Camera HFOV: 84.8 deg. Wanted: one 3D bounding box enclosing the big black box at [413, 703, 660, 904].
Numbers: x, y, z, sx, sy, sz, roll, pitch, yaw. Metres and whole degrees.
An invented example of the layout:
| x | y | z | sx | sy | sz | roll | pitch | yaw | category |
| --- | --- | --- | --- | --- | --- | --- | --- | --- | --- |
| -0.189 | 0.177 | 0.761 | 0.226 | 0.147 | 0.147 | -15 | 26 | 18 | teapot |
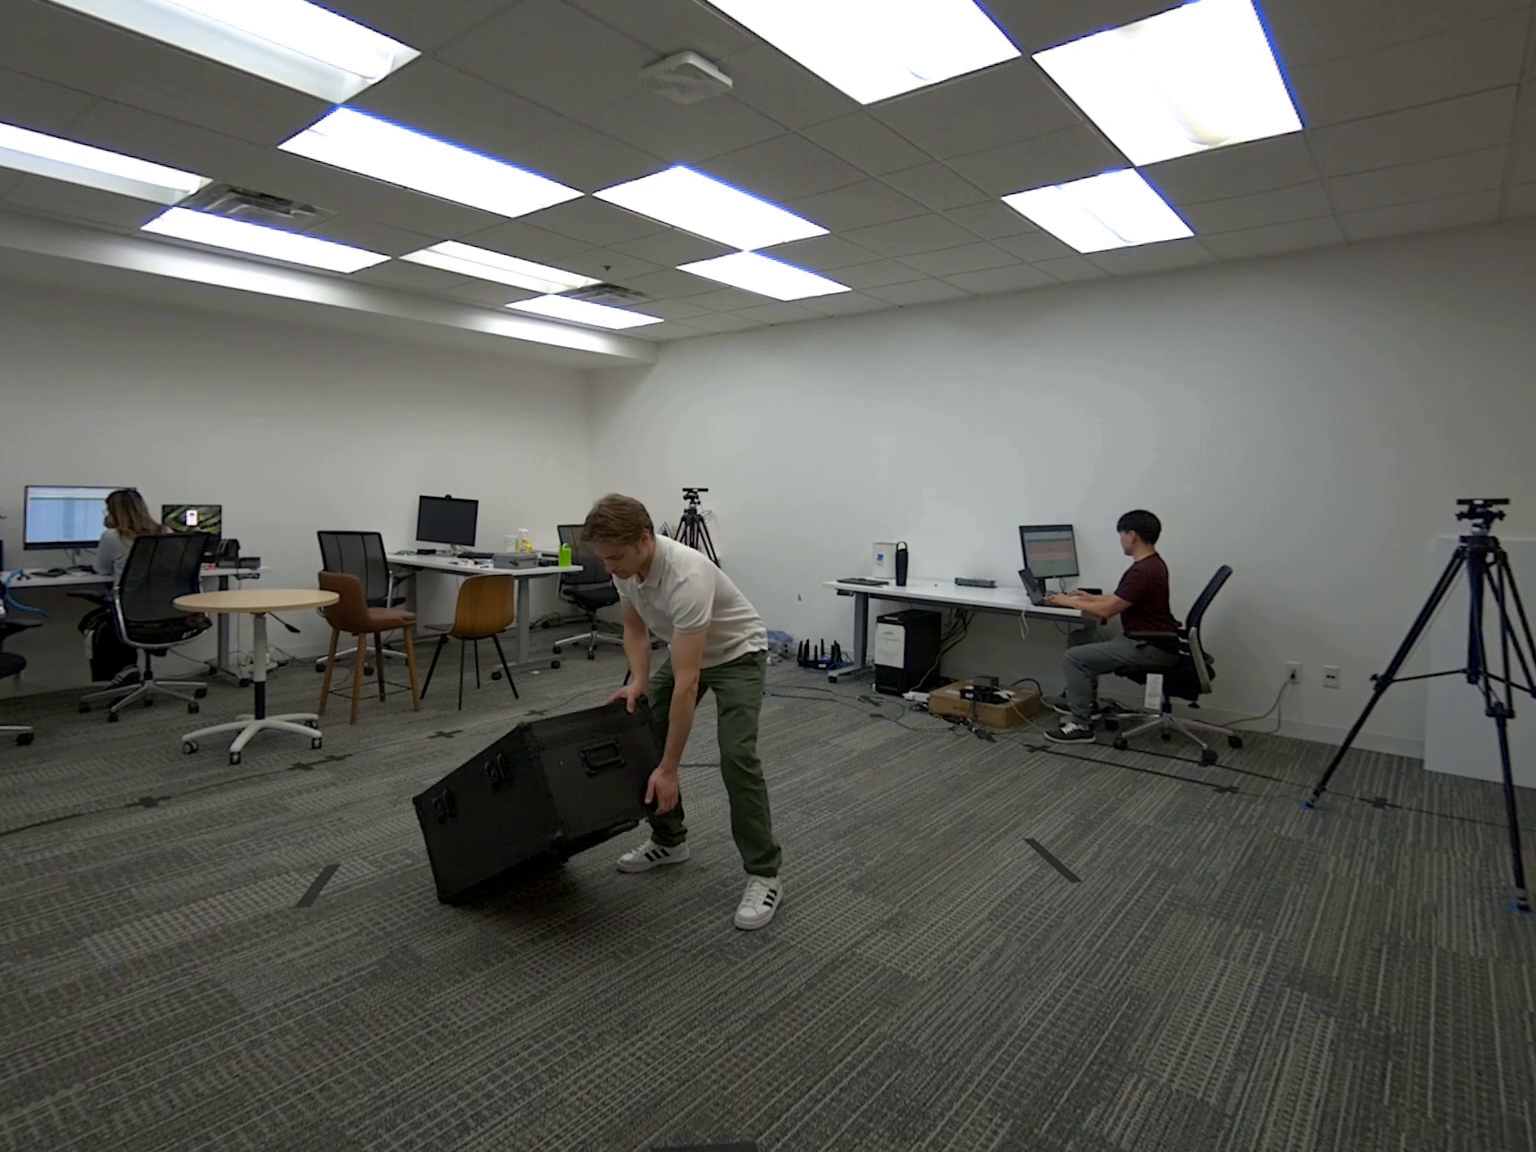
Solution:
| x | y | z | sx | sy | sz | roll | pitch | yaw | category |
| --- | --- | --- | --- | --- | --- | --- | --- | --- | --- |
| -0.777 | 0.760 | 2.833 | 0.508 | 0.393 | 0.876 | -6 | -22 | -47 | big black box |
